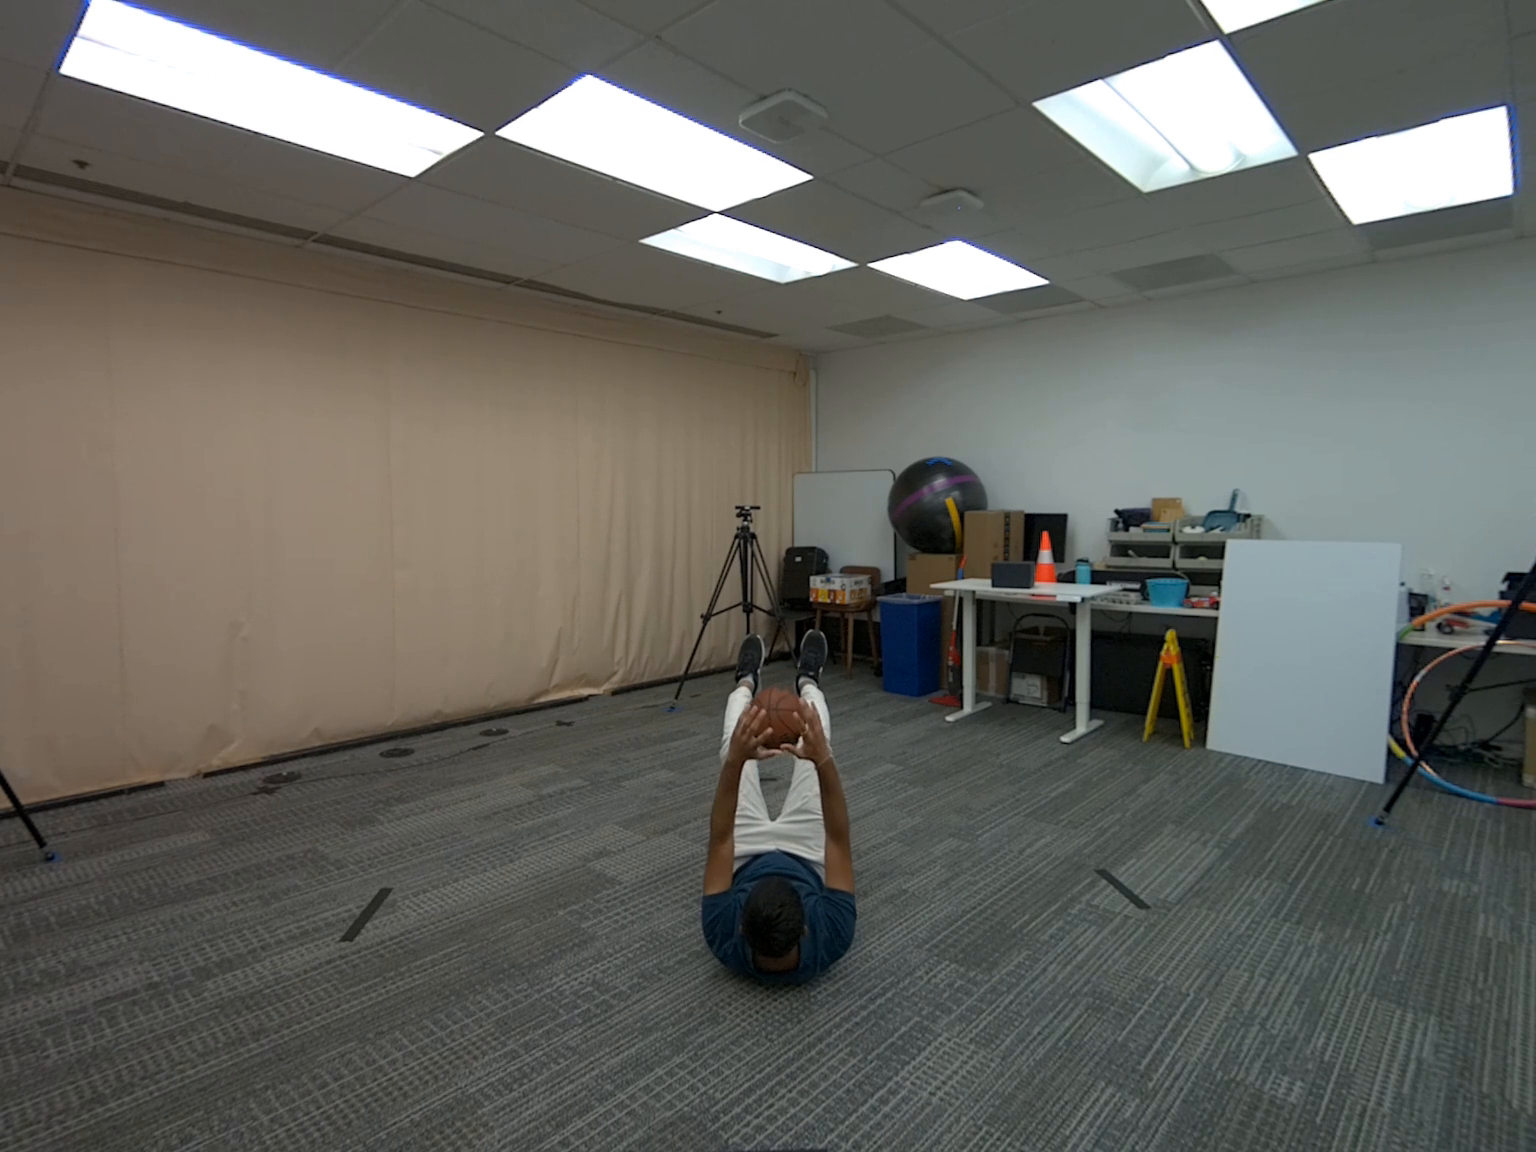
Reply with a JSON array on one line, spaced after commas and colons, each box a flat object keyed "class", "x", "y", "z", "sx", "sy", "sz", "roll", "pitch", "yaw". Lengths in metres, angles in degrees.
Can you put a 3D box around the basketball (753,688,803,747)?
[{"class": "basketball", "x": 0.032, "y": 0.545, "z": 3.249, "sx": 0.236, "sy": 0.235, "sz": 0.237, "roll": 0, "pitch": 4, "yaw": -2}]
